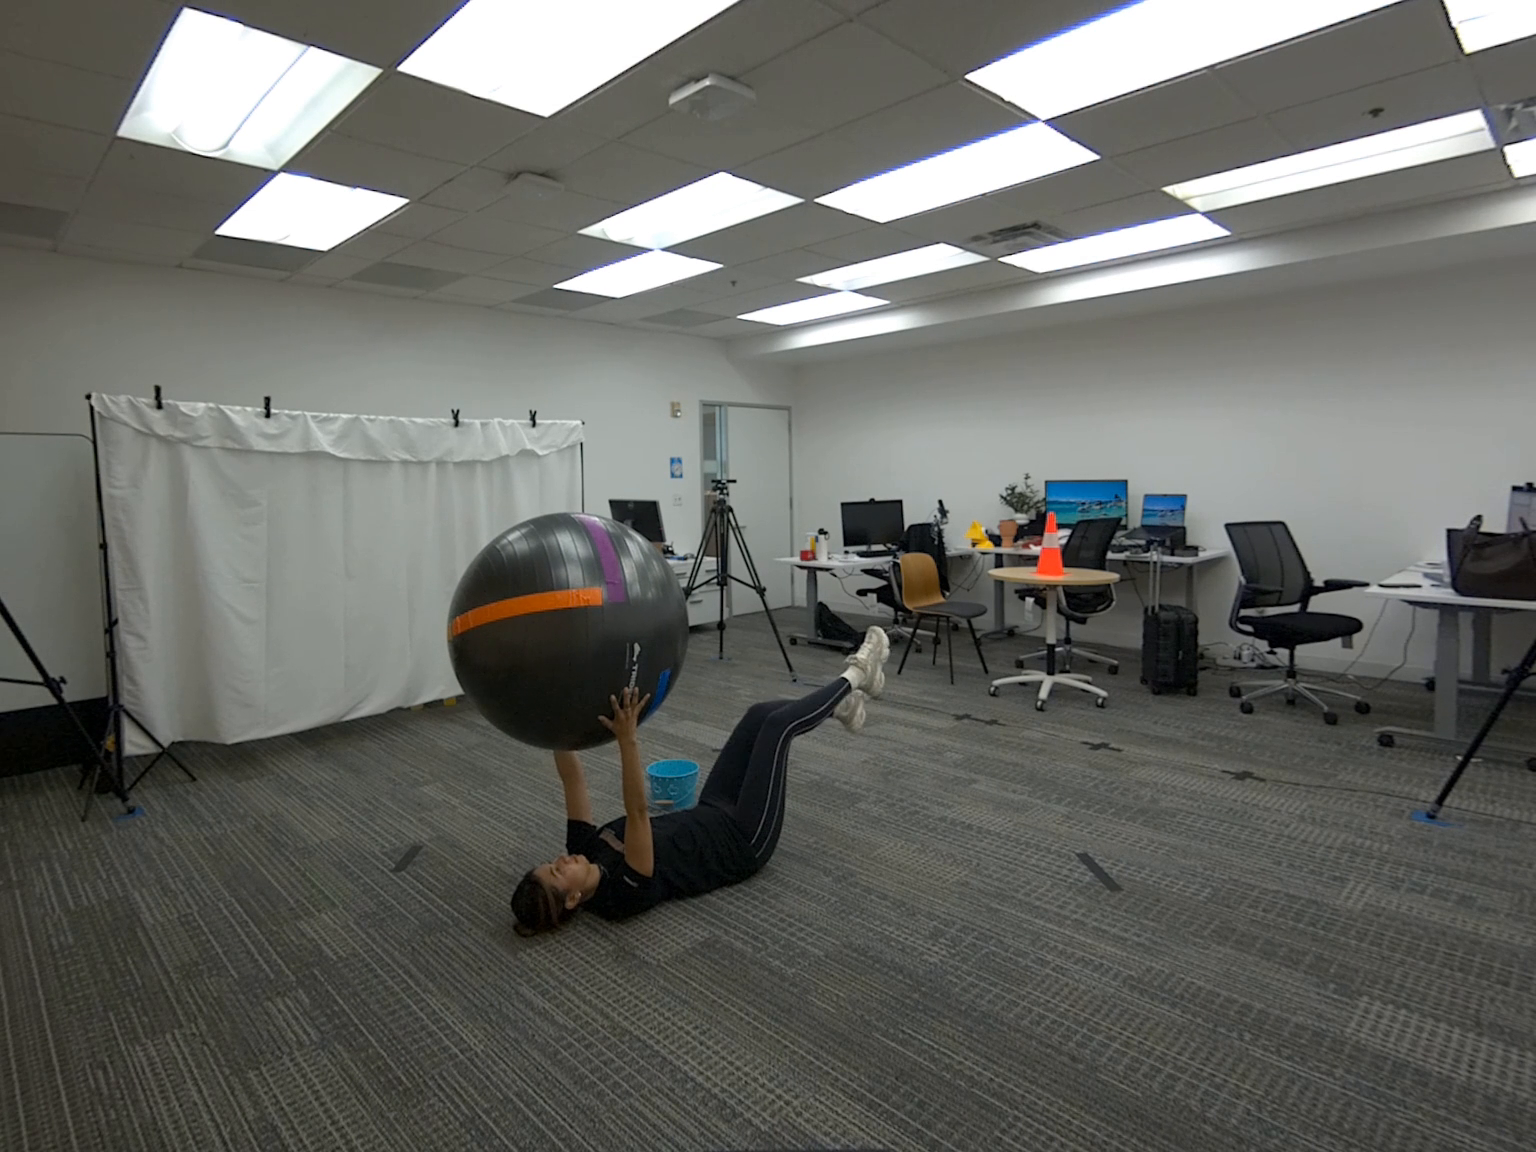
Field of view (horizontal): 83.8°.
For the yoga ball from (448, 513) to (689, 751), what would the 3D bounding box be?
[{"bbox_3d":[-0.632,0.175,2.747,0.757,0.757,0.759,0,1,-2],"label":"yoga ball"}]
